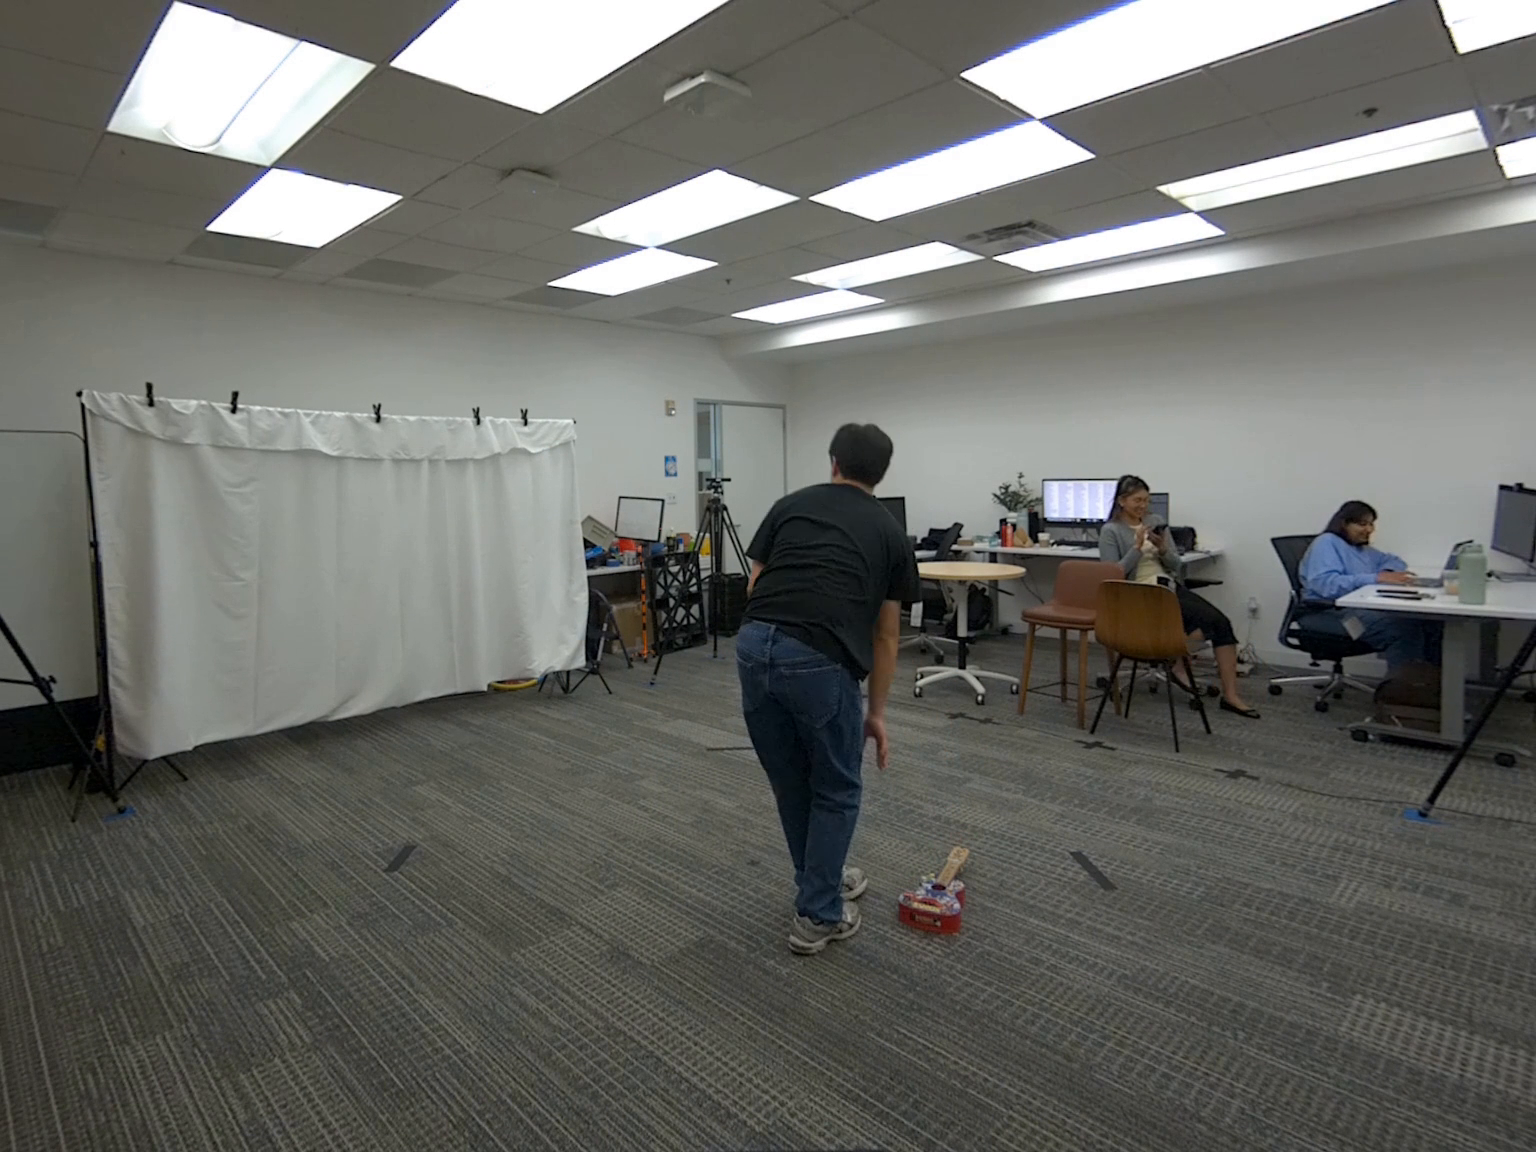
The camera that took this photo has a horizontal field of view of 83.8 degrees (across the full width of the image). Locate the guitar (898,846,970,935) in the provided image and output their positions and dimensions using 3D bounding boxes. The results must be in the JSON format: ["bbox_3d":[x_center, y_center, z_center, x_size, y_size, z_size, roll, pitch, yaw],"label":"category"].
[{"bbox_3d":[0.618,1.031,2.821,0.198,0.070,0.486,3,8,36],"label":"guitar"}]
